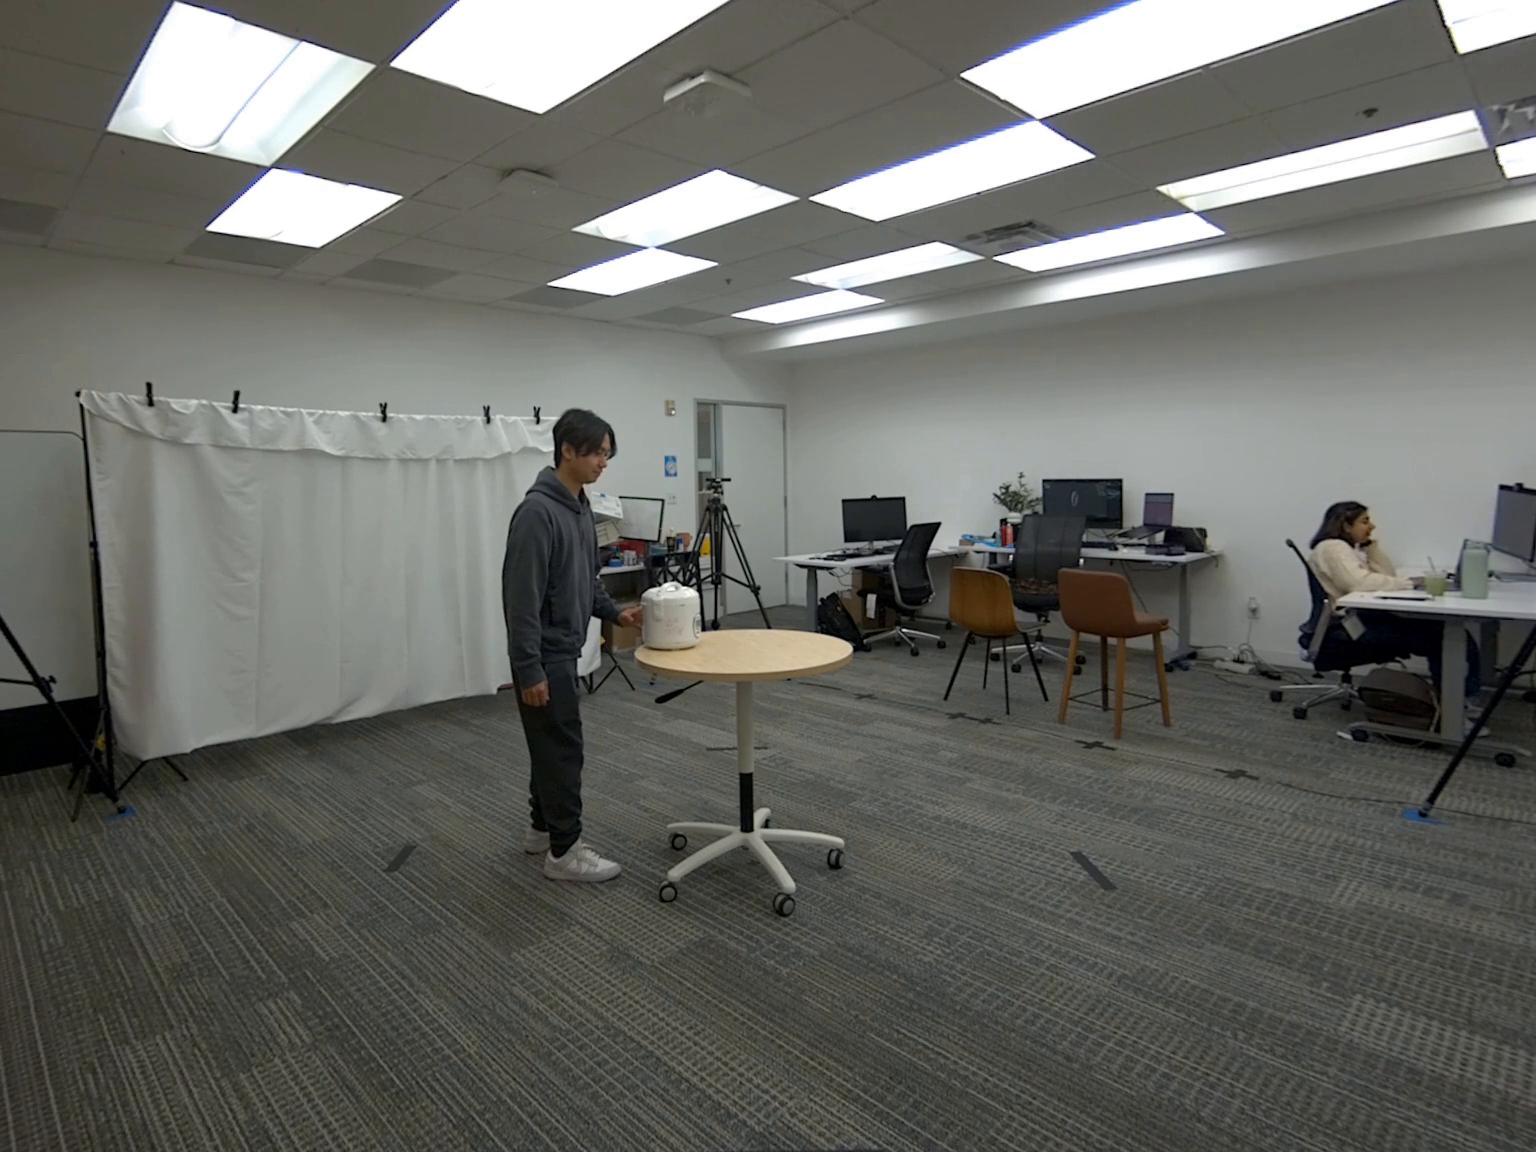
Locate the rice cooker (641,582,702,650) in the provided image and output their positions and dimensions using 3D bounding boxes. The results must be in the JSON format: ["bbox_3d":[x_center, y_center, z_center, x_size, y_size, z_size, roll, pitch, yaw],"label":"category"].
[{"bbox_3d":[-0.350,0.137,3.088,0.222,0.232,0.217,0,5,23],"label":"rice cooker"}]
